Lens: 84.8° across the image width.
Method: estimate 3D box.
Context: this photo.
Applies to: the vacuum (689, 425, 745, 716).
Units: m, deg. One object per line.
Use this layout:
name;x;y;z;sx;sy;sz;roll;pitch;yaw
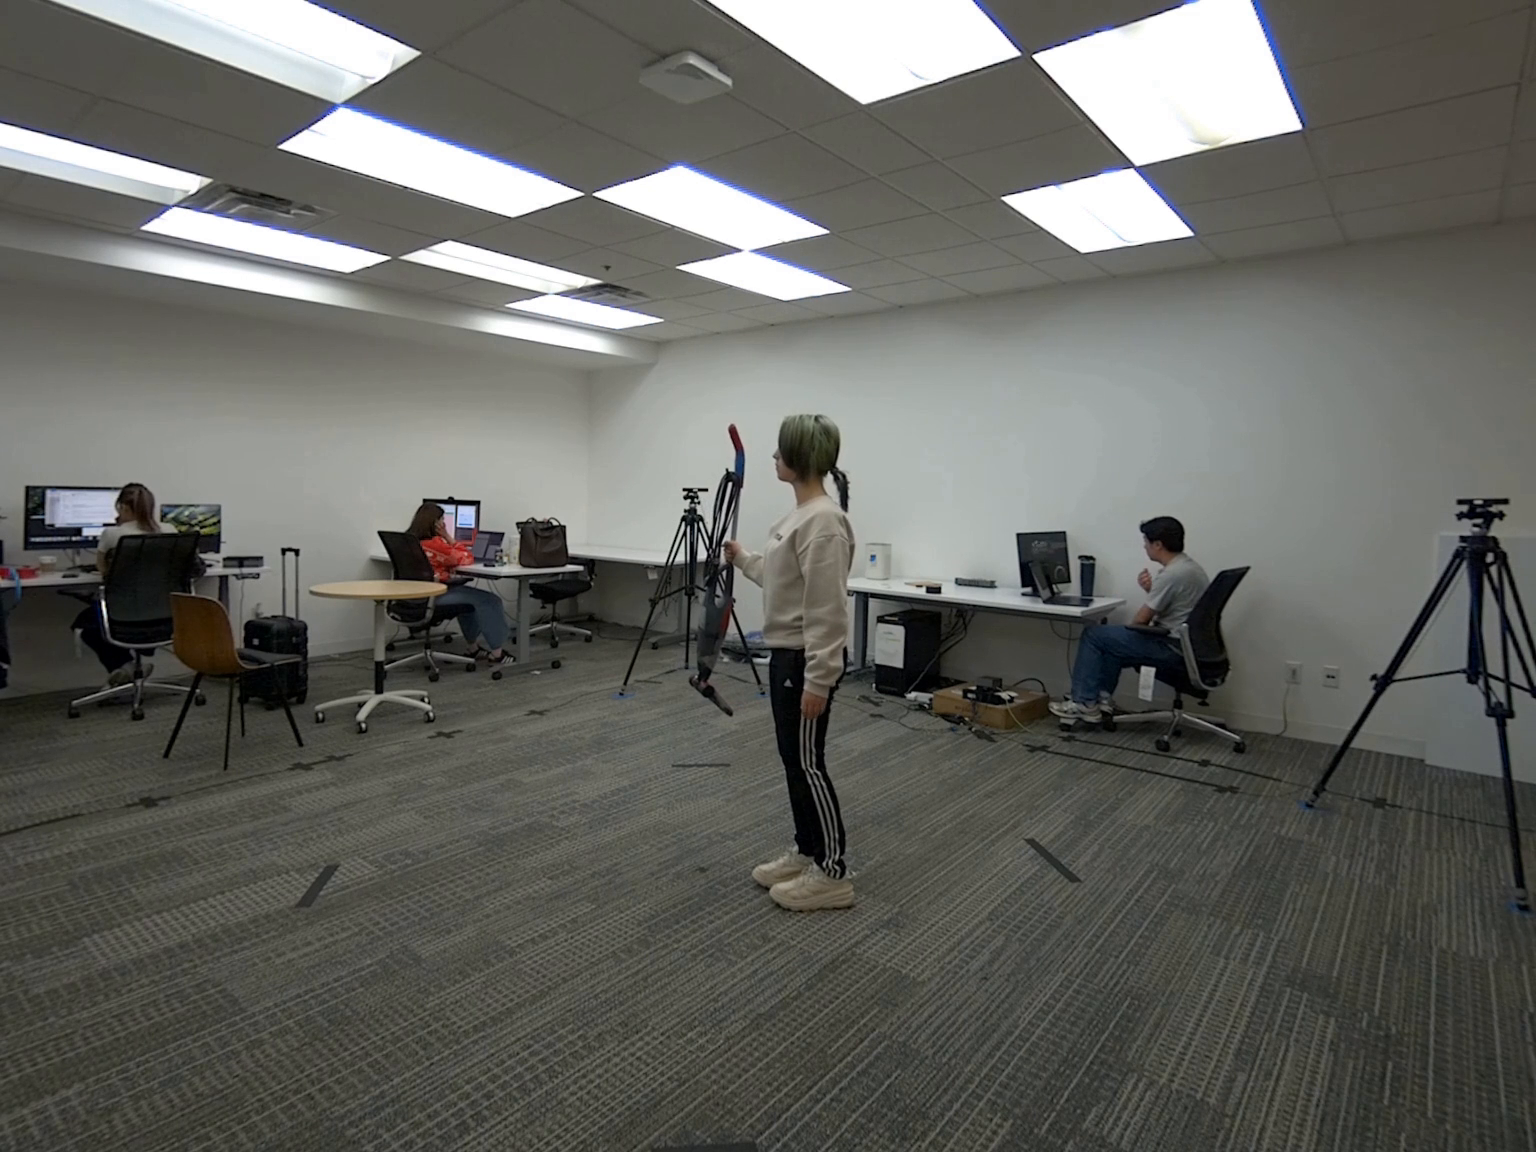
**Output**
vacuum;-0.202;-0.040;3.245;0.141;1.039;0.260;1;12;-22
